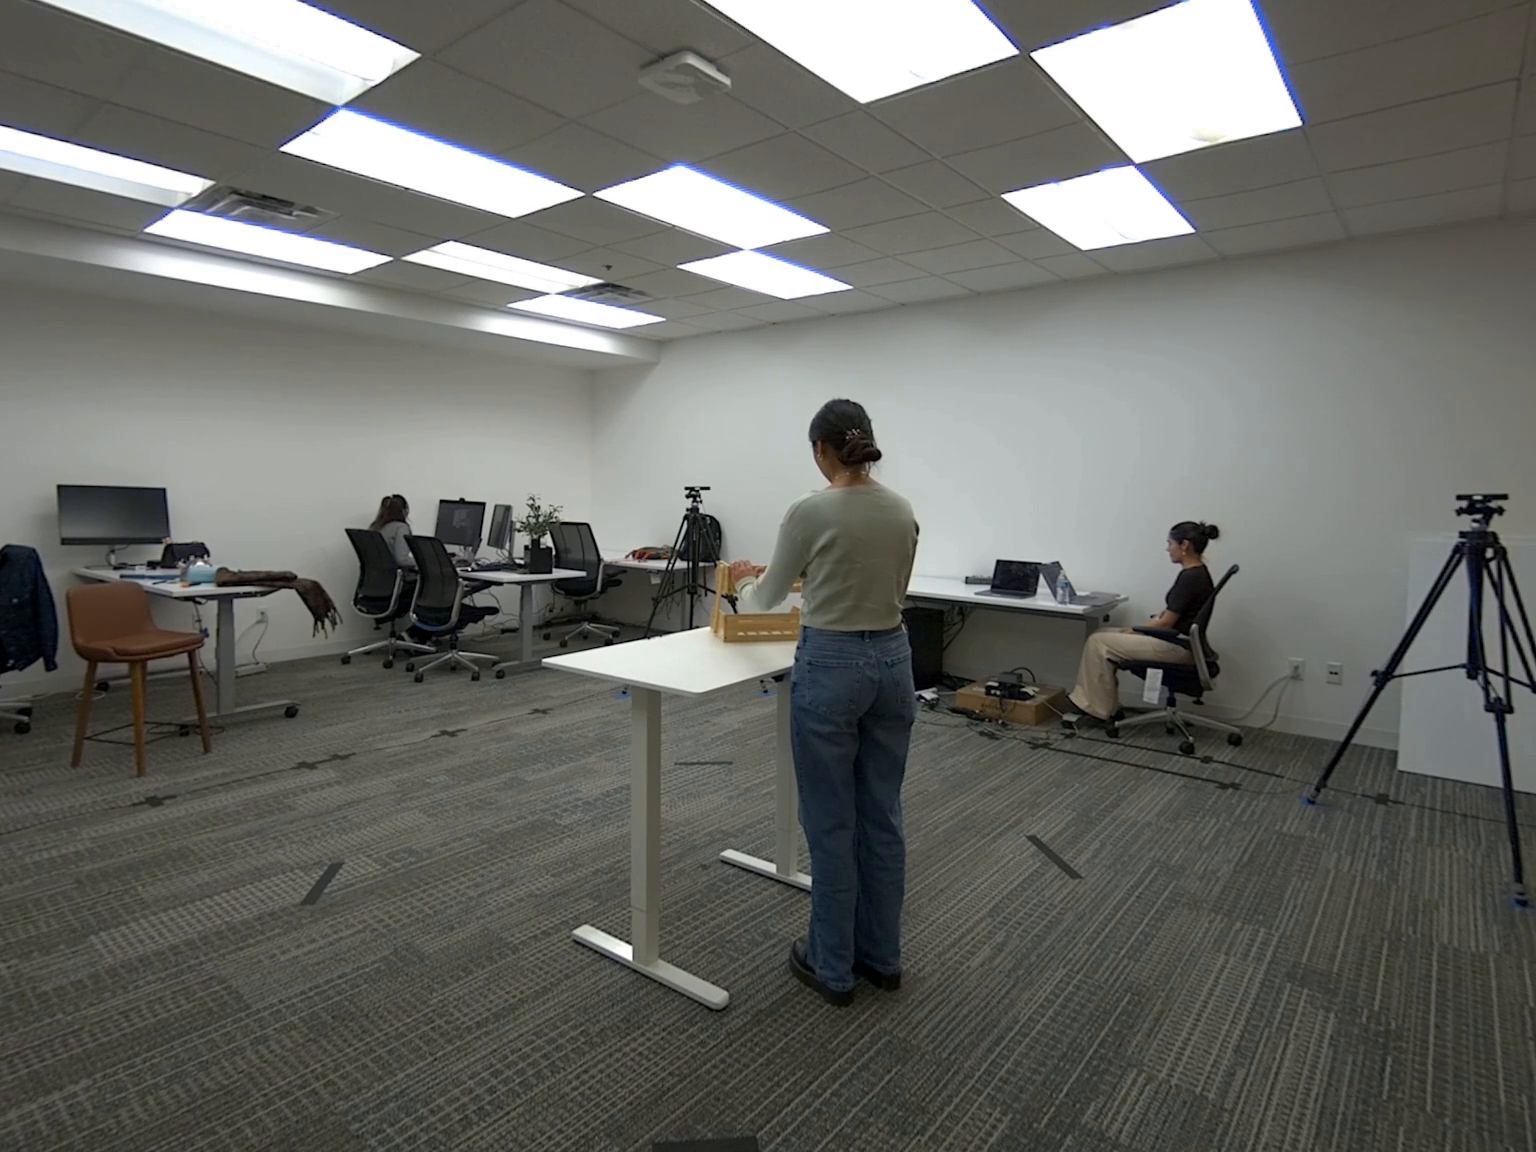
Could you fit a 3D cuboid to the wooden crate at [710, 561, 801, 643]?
[{"bbox_3d":[-0.031,0.072,2.905,0.320,0.272,0.307,0,4,-13],"label":"wooden crate"}]
